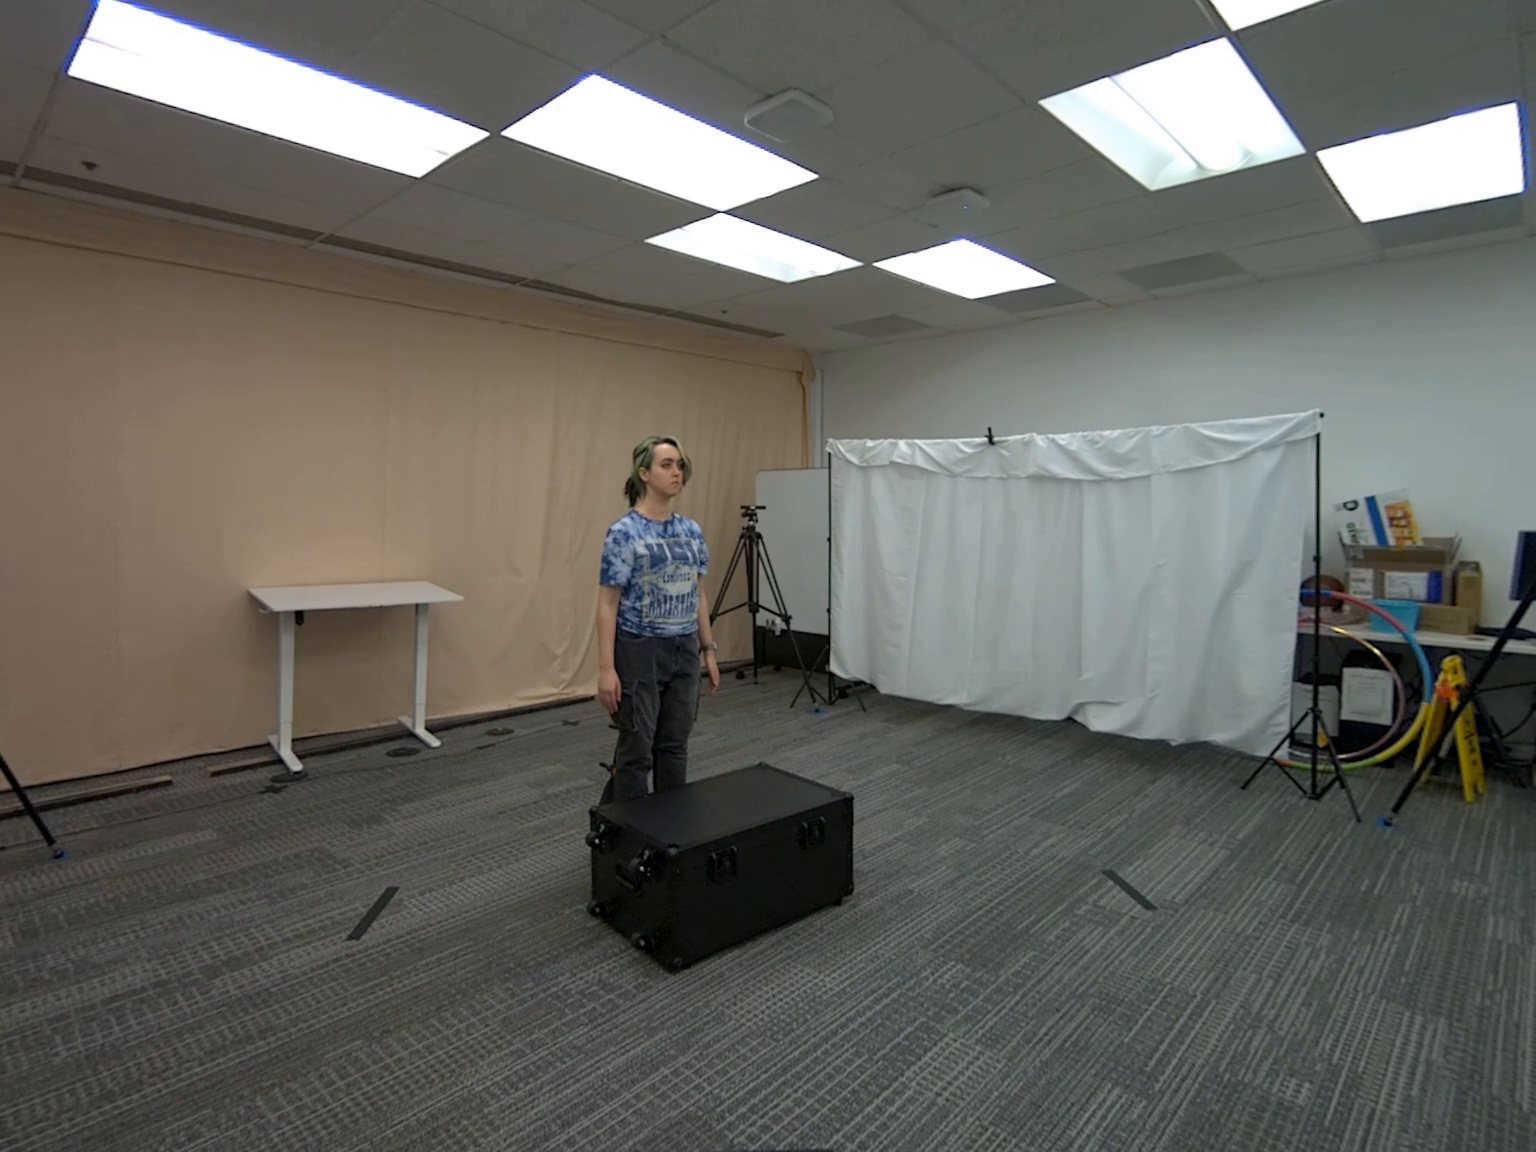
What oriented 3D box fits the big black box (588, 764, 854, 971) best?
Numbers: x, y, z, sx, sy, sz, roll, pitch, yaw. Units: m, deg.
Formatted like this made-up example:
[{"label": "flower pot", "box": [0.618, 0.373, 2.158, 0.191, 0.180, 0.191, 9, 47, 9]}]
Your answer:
[{"label": "big black box", "box": [-0.169, 0.963, 2.881, 0.835, 0.395, 0.538, -3, 5, -39]}]
